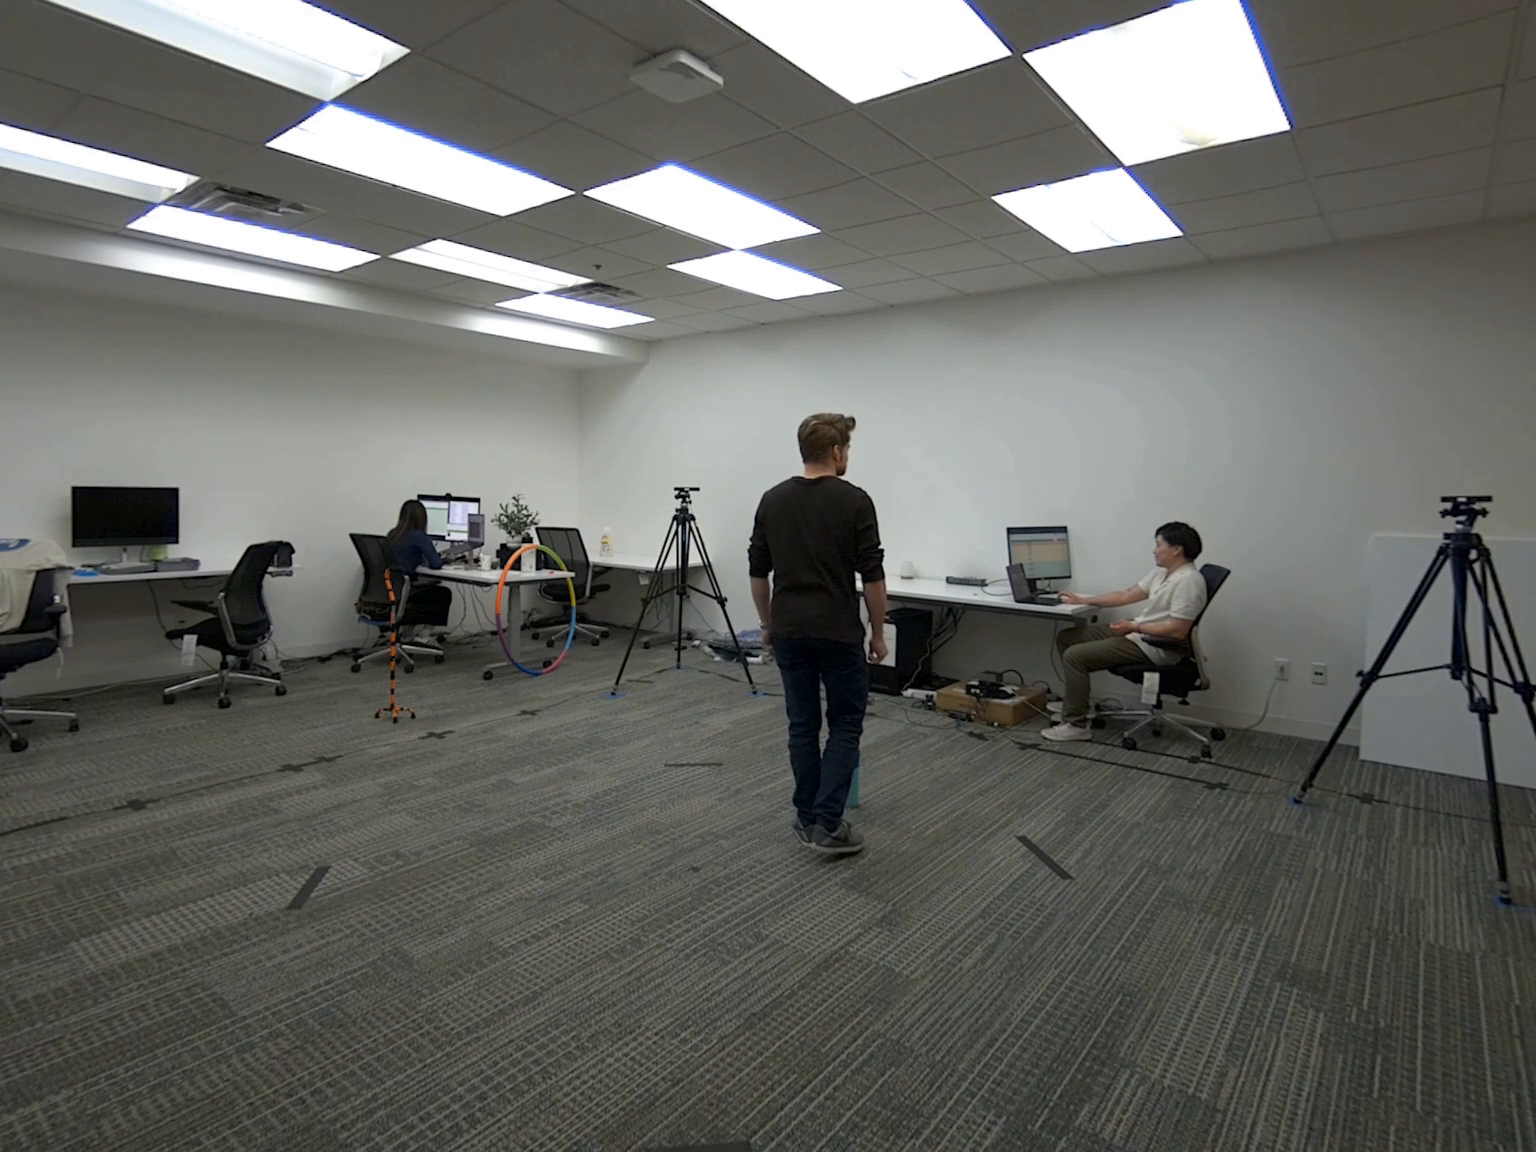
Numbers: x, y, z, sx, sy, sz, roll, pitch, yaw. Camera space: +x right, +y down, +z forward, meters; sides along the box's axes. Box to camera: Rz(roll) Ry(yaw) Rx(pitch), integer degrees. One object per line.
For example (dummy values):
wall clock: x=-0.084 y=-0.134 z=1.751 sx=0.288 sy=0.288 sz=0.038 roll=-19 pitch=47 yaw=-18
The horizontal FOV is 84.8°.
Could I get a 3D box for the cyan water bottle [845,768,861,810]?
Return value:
cyan water bottle: x=0.353 y=0.867 z=3.774 sx=0.092 sy=0.282 sz=0.093 roll=1 pitch=3 yaw=-2
